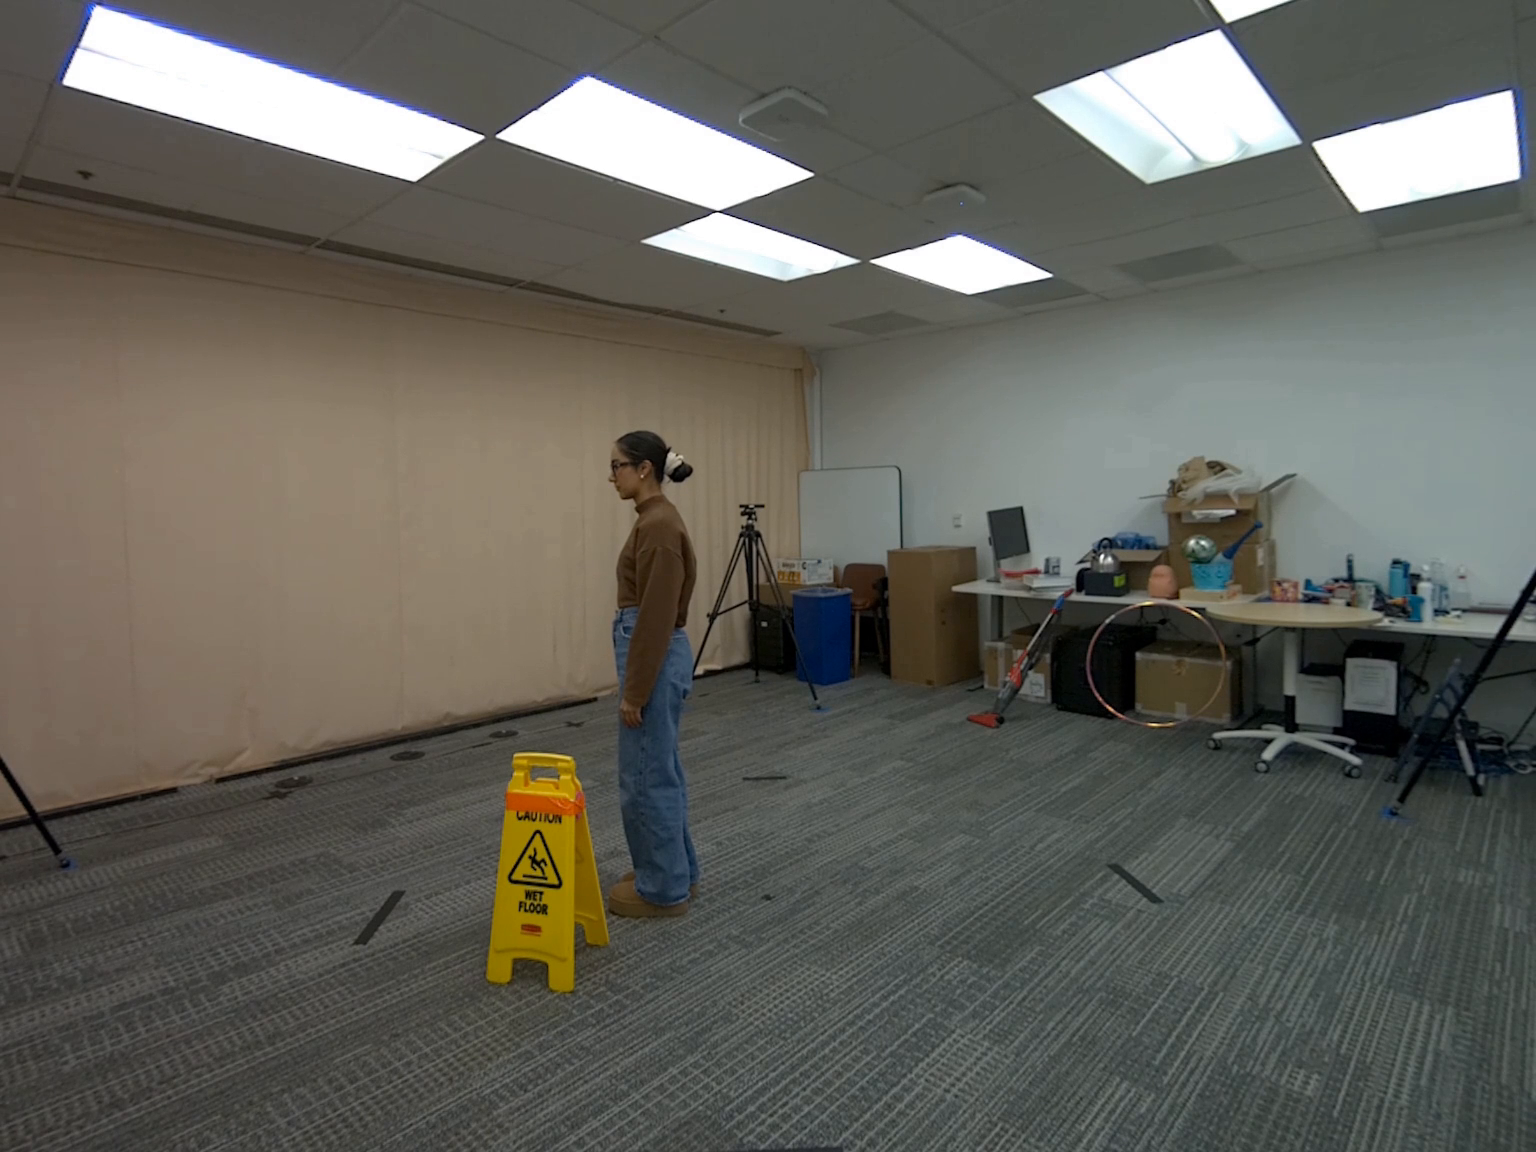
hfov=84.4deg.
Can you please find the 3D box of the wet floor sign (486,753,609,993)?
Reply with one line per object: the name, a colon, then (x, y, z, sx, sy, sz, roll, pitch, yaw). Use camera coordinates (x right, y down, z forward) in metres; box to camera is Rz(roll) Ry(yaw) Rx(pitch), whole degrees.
wet floor sign: (-0.677, 0.866, 2.571, 0.286, 0.645, 0.286, -2, 3, 13)
